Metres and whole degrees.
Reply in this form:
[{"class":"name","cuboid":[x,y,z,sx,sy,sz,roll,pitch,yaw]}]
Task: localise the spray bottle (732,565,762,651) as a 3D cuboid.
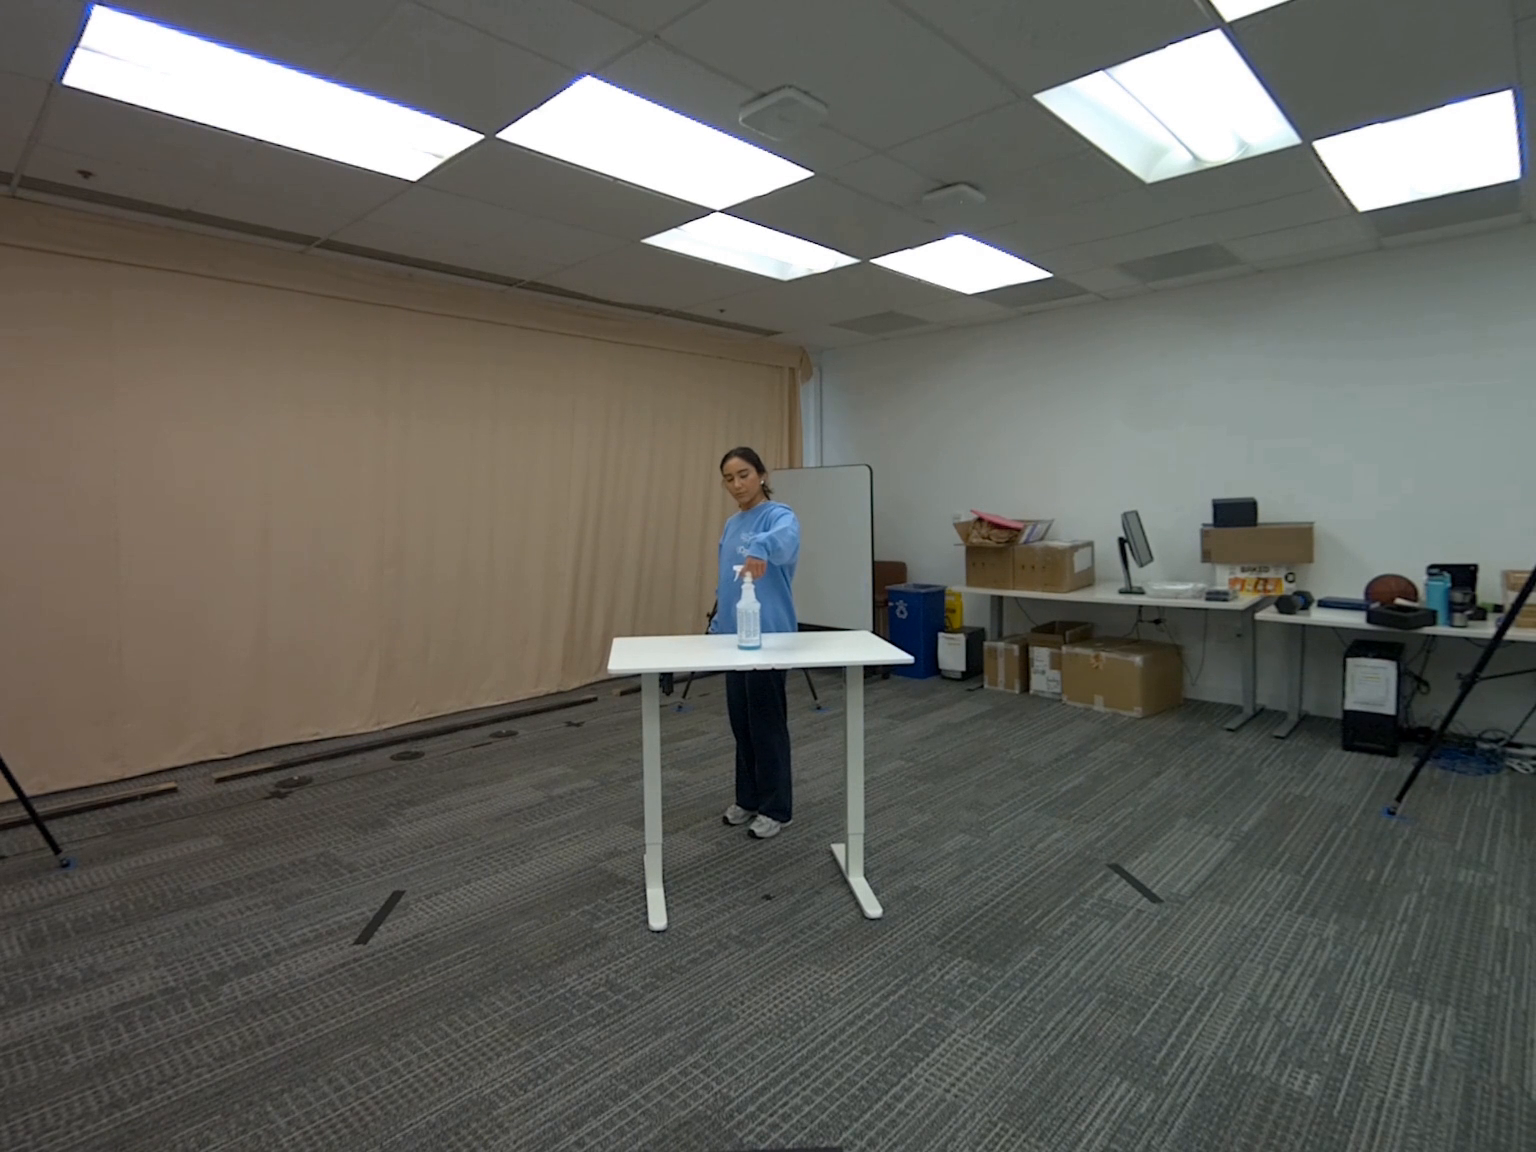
[{"class":"spray bottle","cuboid":[-0.068,0.111,2.994,0.092,0.297,0.085,-1,3,18]}]
